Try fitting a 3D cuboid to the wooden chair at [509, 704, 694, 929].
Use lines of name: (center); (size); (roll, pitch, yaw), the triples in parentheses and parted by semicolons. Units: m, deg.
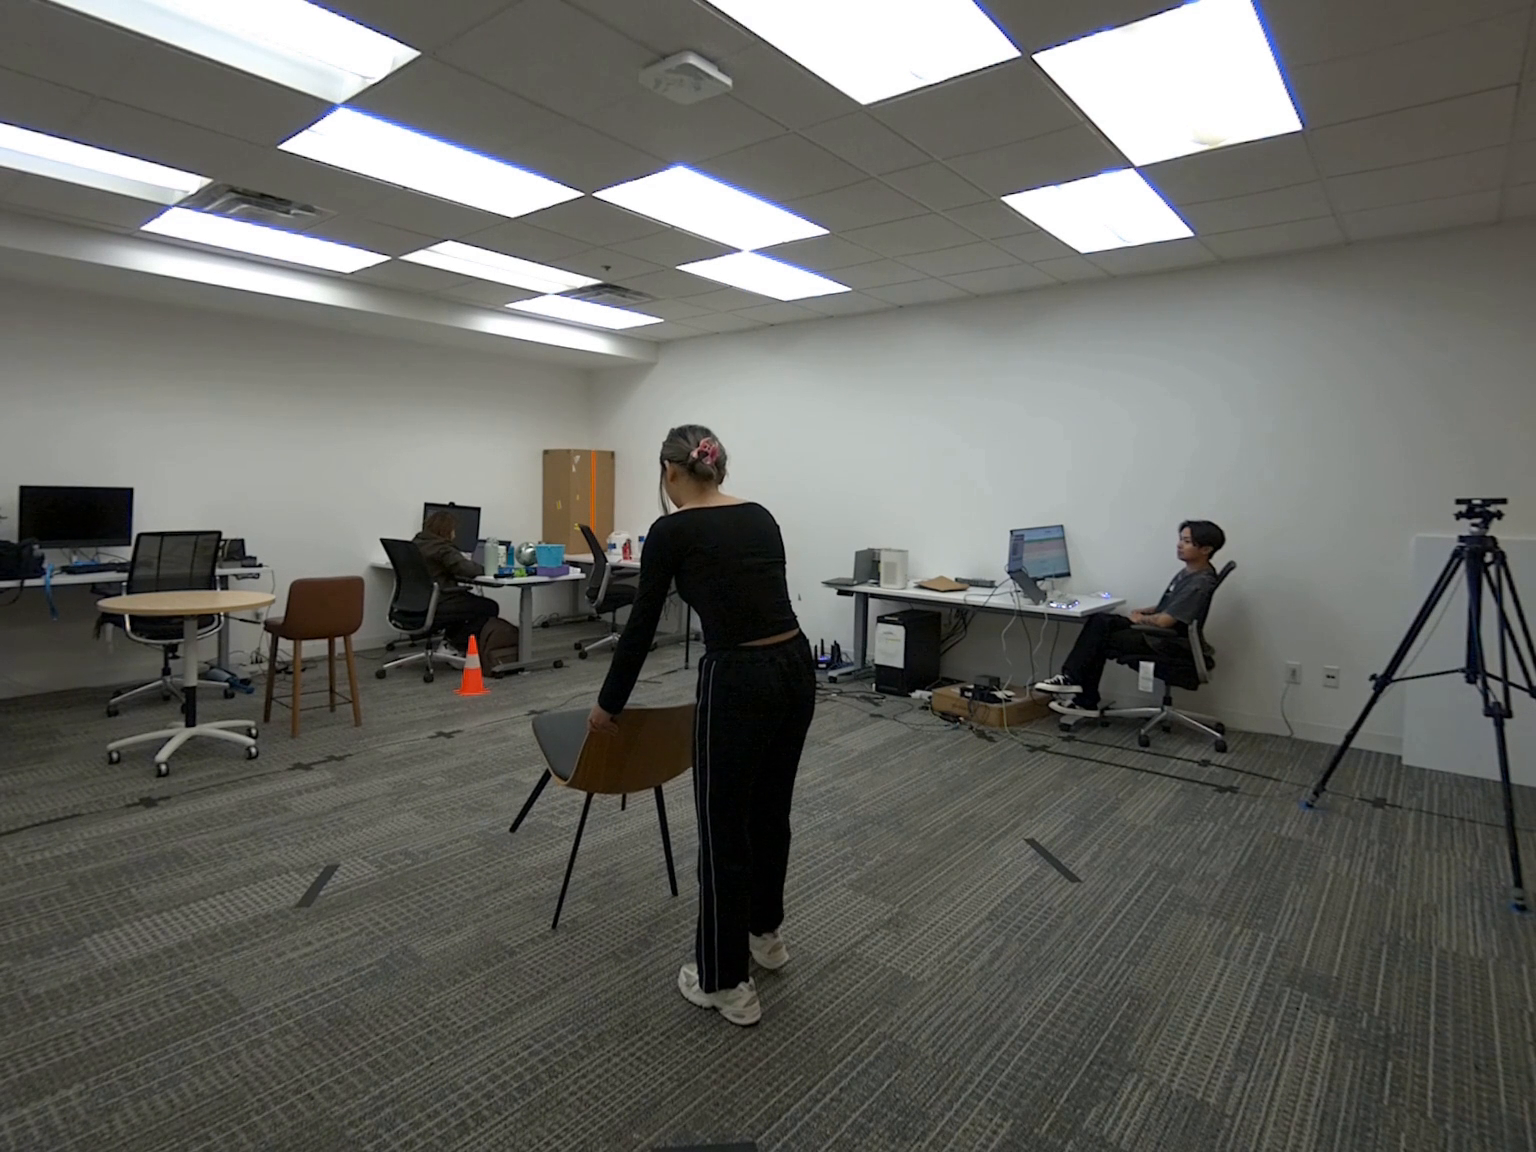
wooden chair: (-0.530, 0.610, 2.804); (0.464, 0.865, 0.546); (-2, 31, -34)
